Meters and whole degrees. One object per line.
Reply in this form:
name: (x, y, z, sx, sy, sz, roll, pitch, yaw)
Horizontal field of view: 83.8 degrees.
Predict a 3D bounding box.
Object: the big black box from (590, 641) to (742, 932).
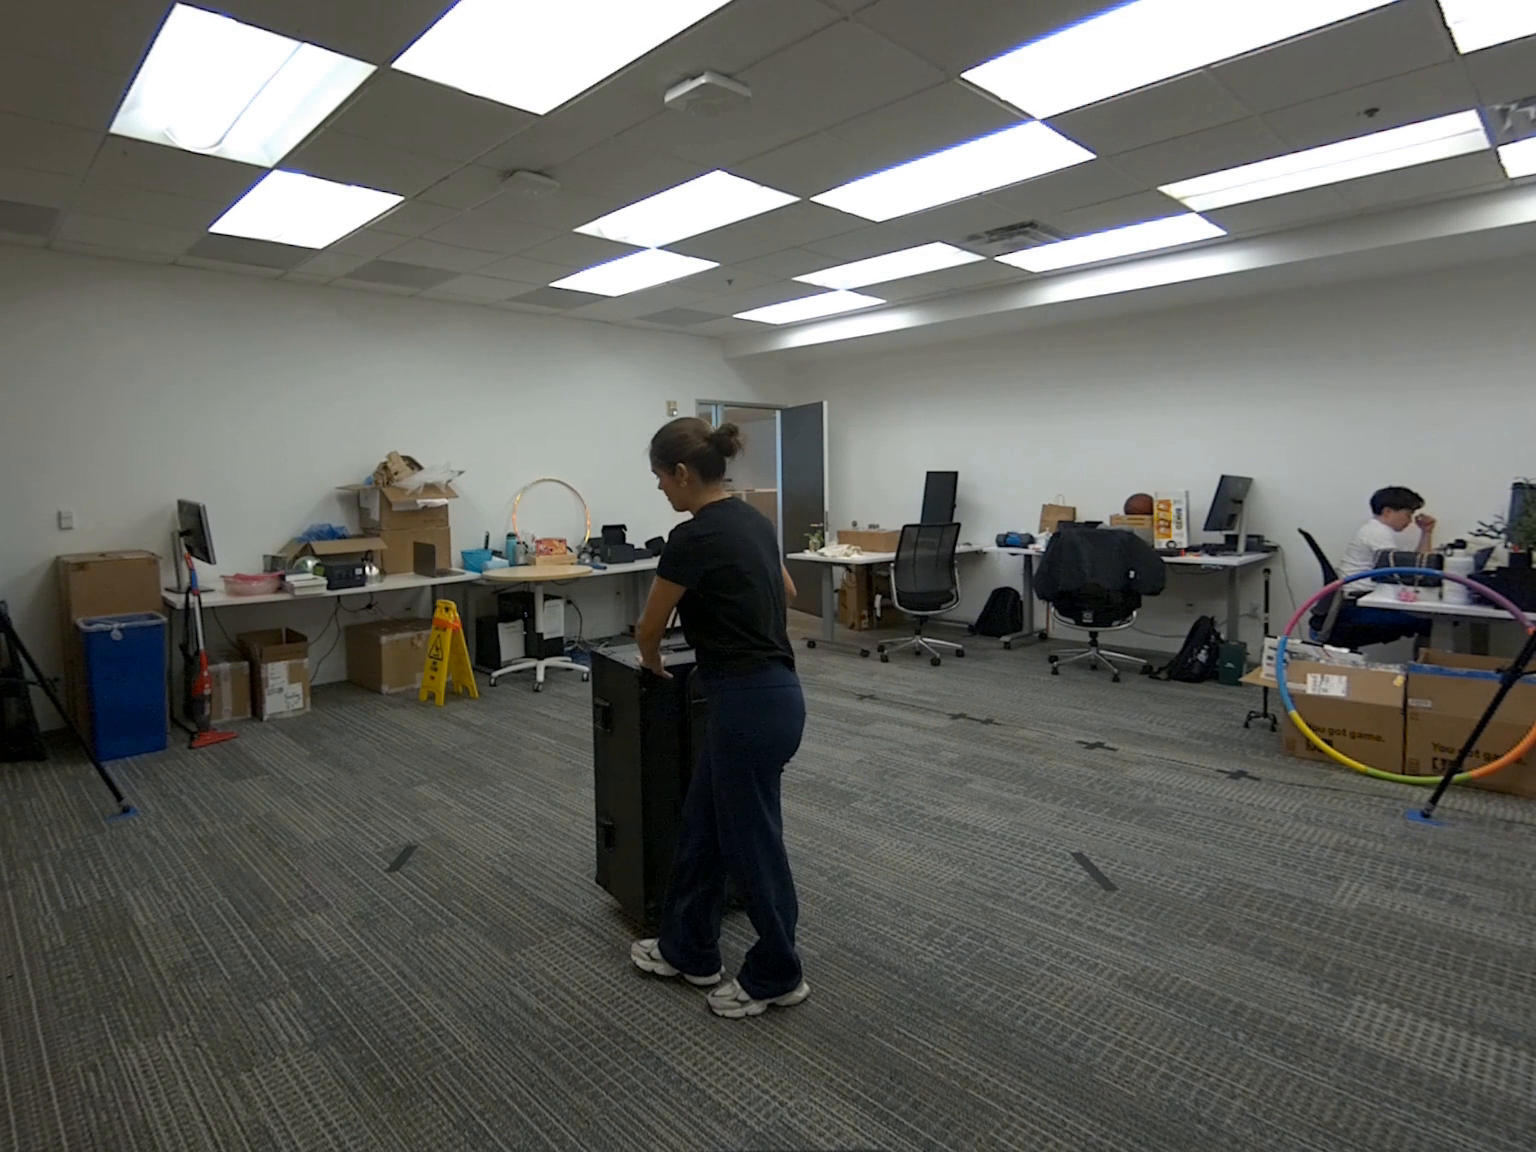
big black box: (-0.268, 0.660, 2.792, 0.508, 0.858, 0.408, -3, 6, -34)
